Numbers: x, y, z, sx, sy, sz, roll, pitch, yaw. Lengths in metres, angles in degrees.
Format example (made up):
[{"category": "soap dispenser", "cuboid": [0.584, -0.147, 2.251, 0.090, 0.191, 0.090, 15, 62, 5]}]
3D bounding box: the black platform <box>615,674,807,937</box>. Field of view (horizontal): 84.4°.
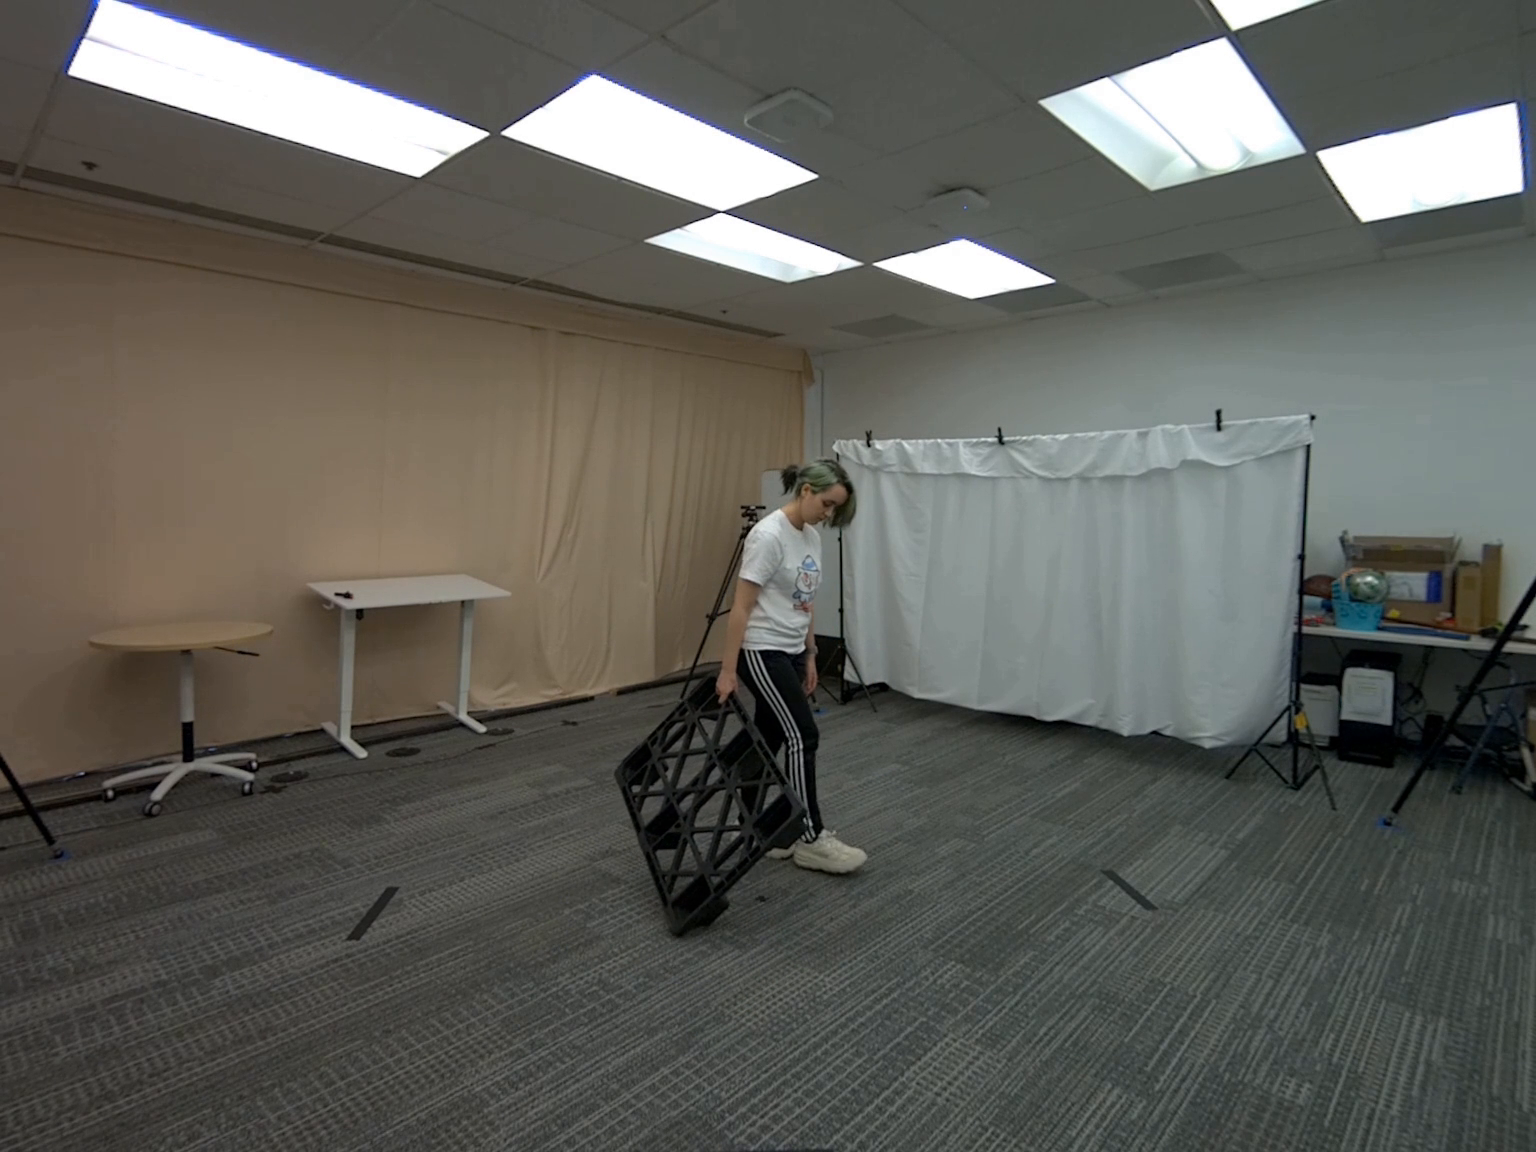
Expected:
[{"category": "black platform", "cuboid": [-0.214, 0.788, 3.029, 0.138, 0.606, 0.832, 39, 8, -36]}]
